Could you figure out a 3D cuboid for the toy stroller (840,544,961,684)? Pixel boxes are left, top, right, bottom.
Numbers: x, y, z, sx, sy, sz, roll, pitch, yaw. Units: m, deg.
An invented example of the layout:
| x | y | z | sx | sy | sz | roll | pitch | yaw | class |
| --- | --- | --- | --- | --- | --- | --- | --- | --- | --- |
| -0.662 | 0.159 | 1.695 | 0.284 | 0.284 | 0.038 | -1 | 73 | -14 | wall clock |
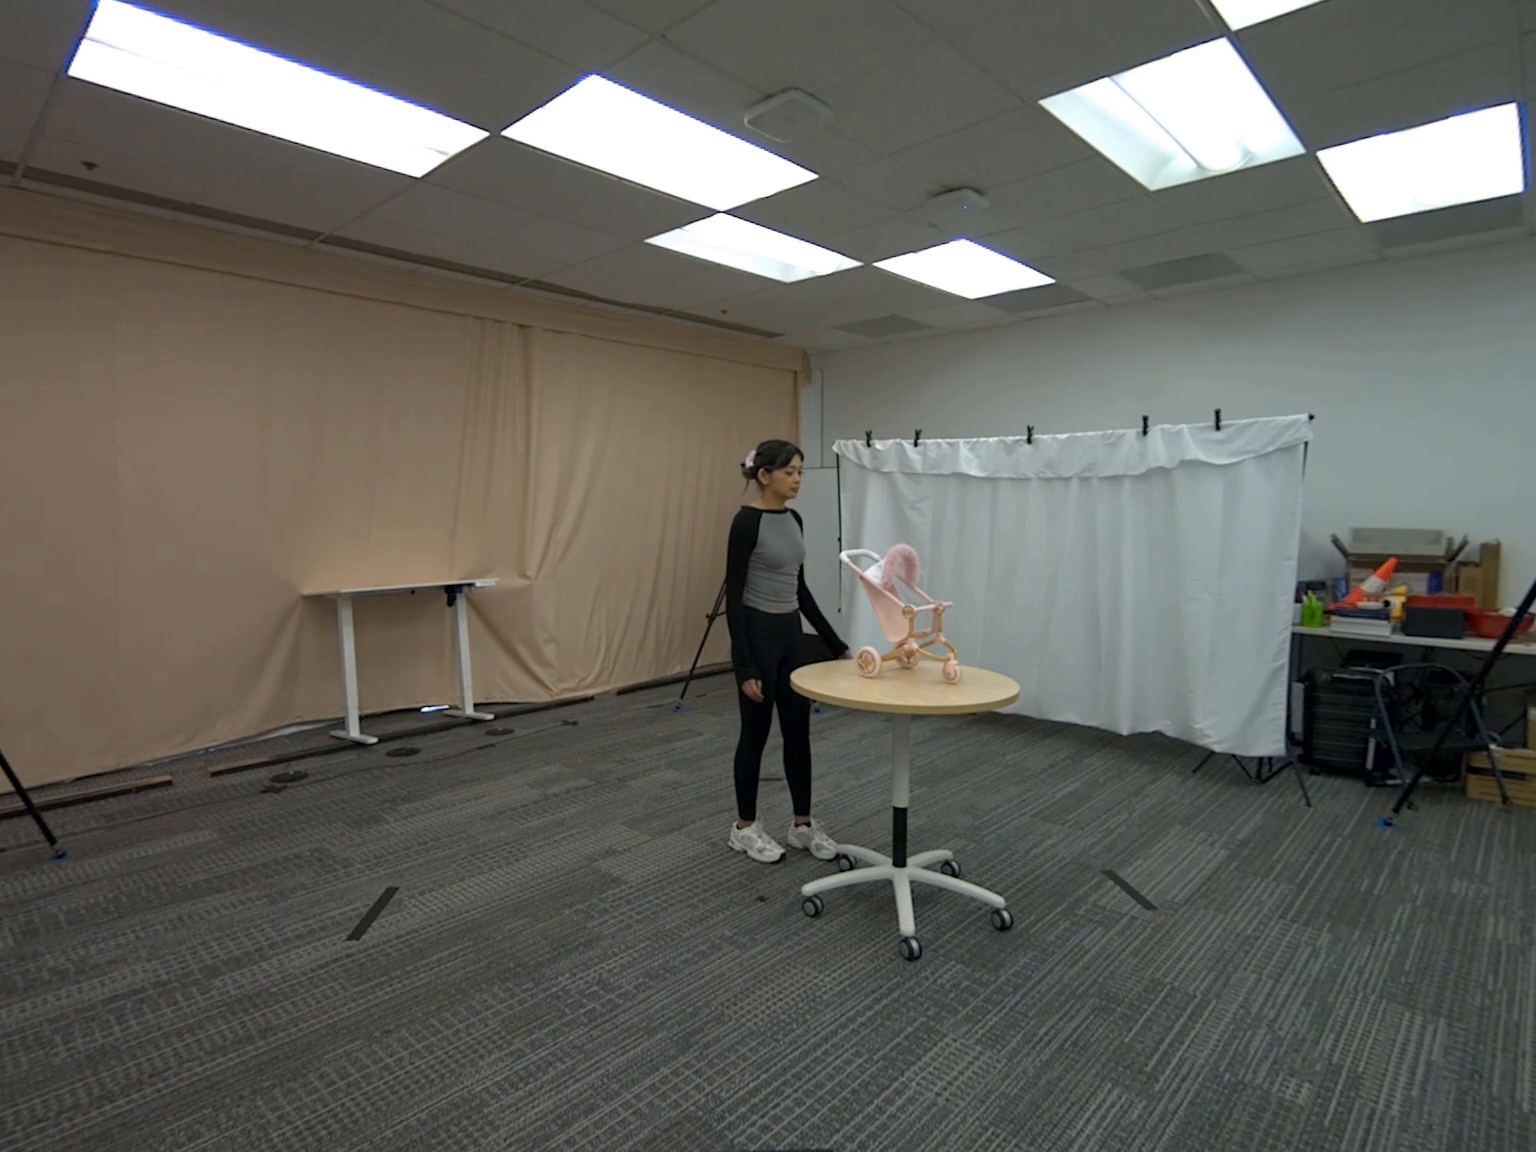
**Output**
| x | y | z | sx | sy | sz | roll | pitch | yaw | class |
| --- | --- | --- | --- | --- | --- | --- | --- | --- | --- |
| 0.486 | 0.130 | 2.948 | 0.273 | 0.539 | 0.349 | -3 | -11 | -43 | toy stroller |
